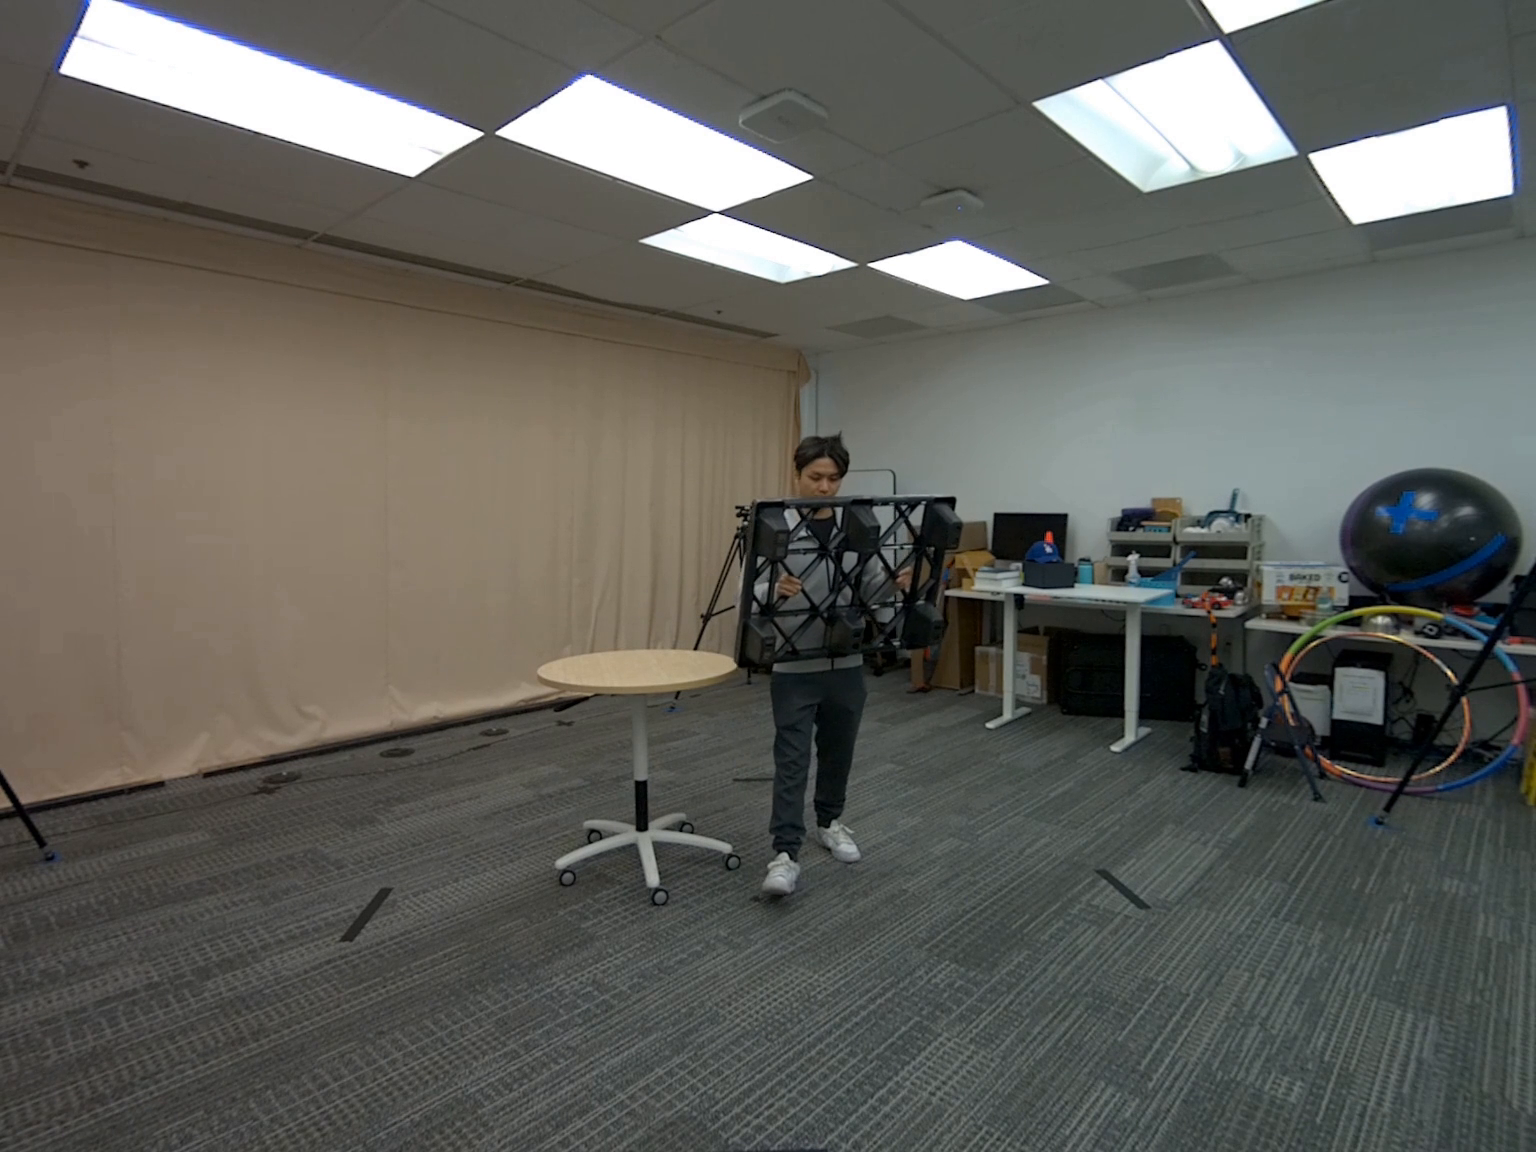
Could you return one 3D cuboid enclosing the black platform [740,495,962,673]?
[{"bbox_3d":[0.294,0.037,2.909,0.788,0.599,0.148,-3,20,-23],"label":"black platform"}]
